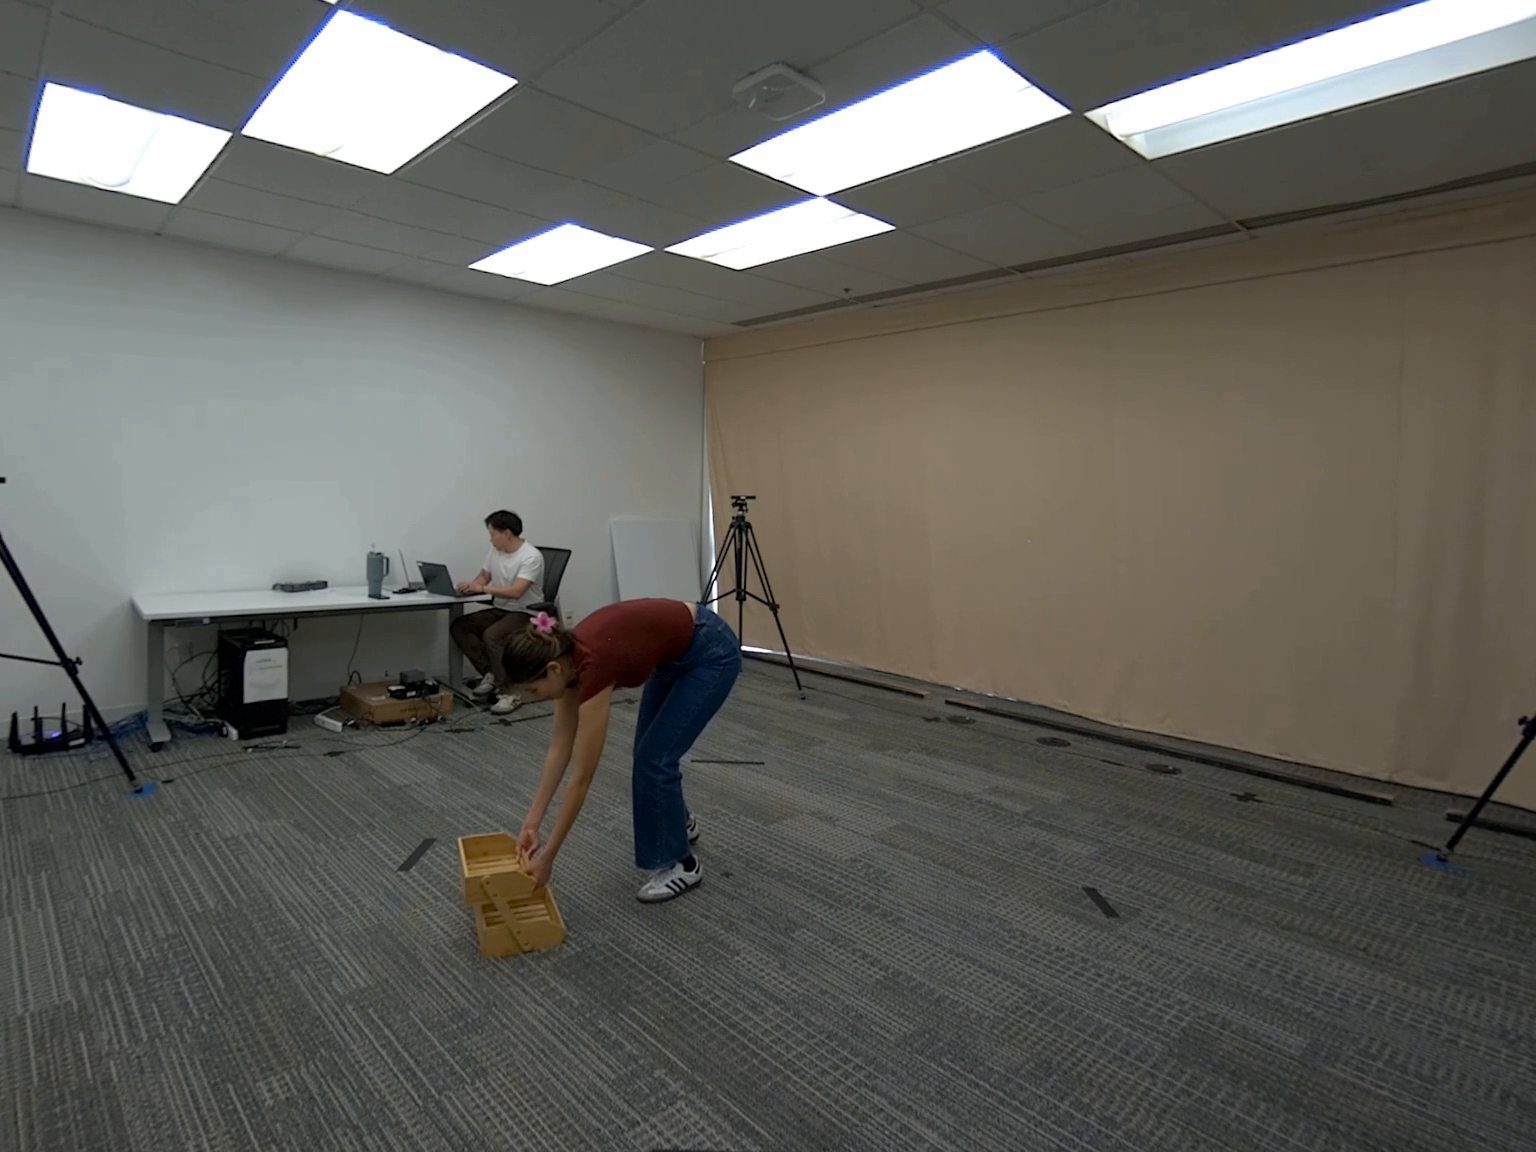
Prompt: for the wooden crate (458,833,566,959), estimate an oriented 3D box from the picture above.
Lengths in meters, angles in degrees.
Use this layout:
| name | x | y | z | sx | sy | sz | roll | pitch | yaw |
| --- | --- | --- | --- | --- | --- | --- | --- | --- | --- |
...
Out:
| name | x | y | z | sx | sy | sz | roll | pitch | yaw |
| --- | --- | --- | --- | --- | --- | --- | --- | --- | --- |
| wooden crate | -0.824 | 0.993 | 2.671 | 0.297 | 0.272 | 0.331 | -1 | 5 | -24 |
